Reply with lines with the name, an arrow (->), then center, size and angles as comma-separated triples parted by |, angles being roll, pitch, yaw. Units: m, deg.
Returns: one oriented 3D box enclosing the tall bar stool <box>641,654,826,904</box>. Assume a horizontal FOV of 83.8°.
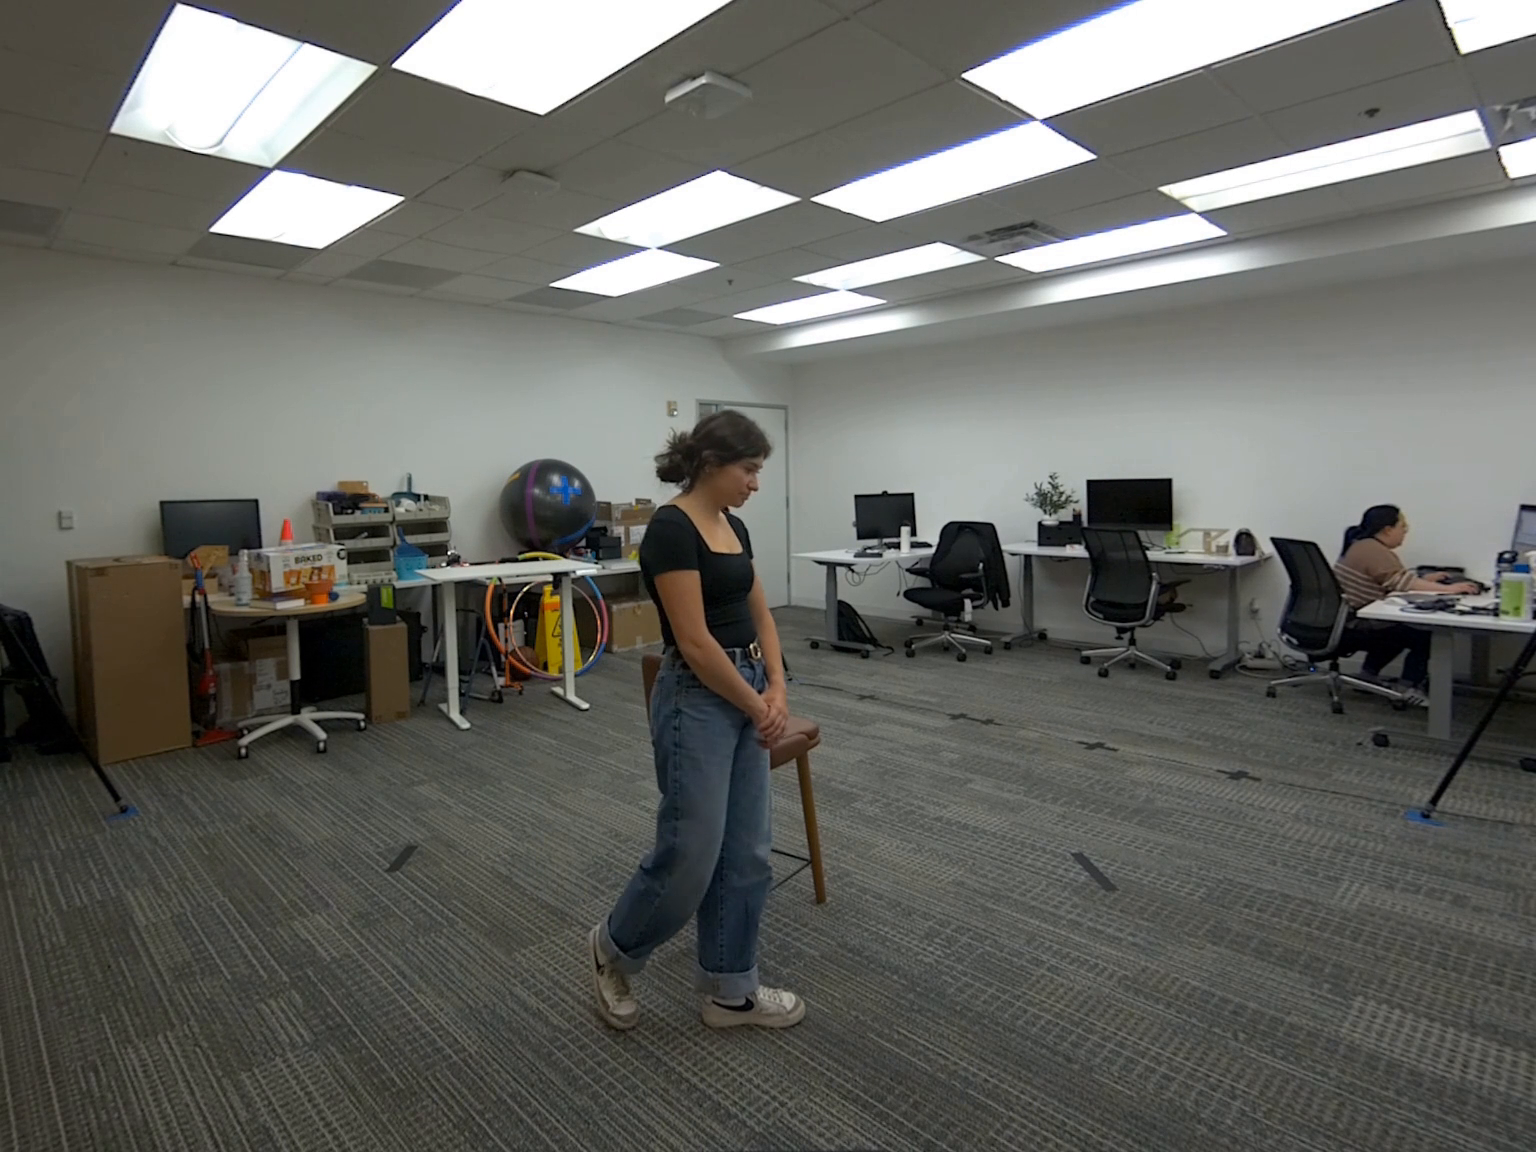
tall bar stool -> -0.103, 0.655, 2.722 | 0.470, 0.885, 0.457 | 2, 7, 36
